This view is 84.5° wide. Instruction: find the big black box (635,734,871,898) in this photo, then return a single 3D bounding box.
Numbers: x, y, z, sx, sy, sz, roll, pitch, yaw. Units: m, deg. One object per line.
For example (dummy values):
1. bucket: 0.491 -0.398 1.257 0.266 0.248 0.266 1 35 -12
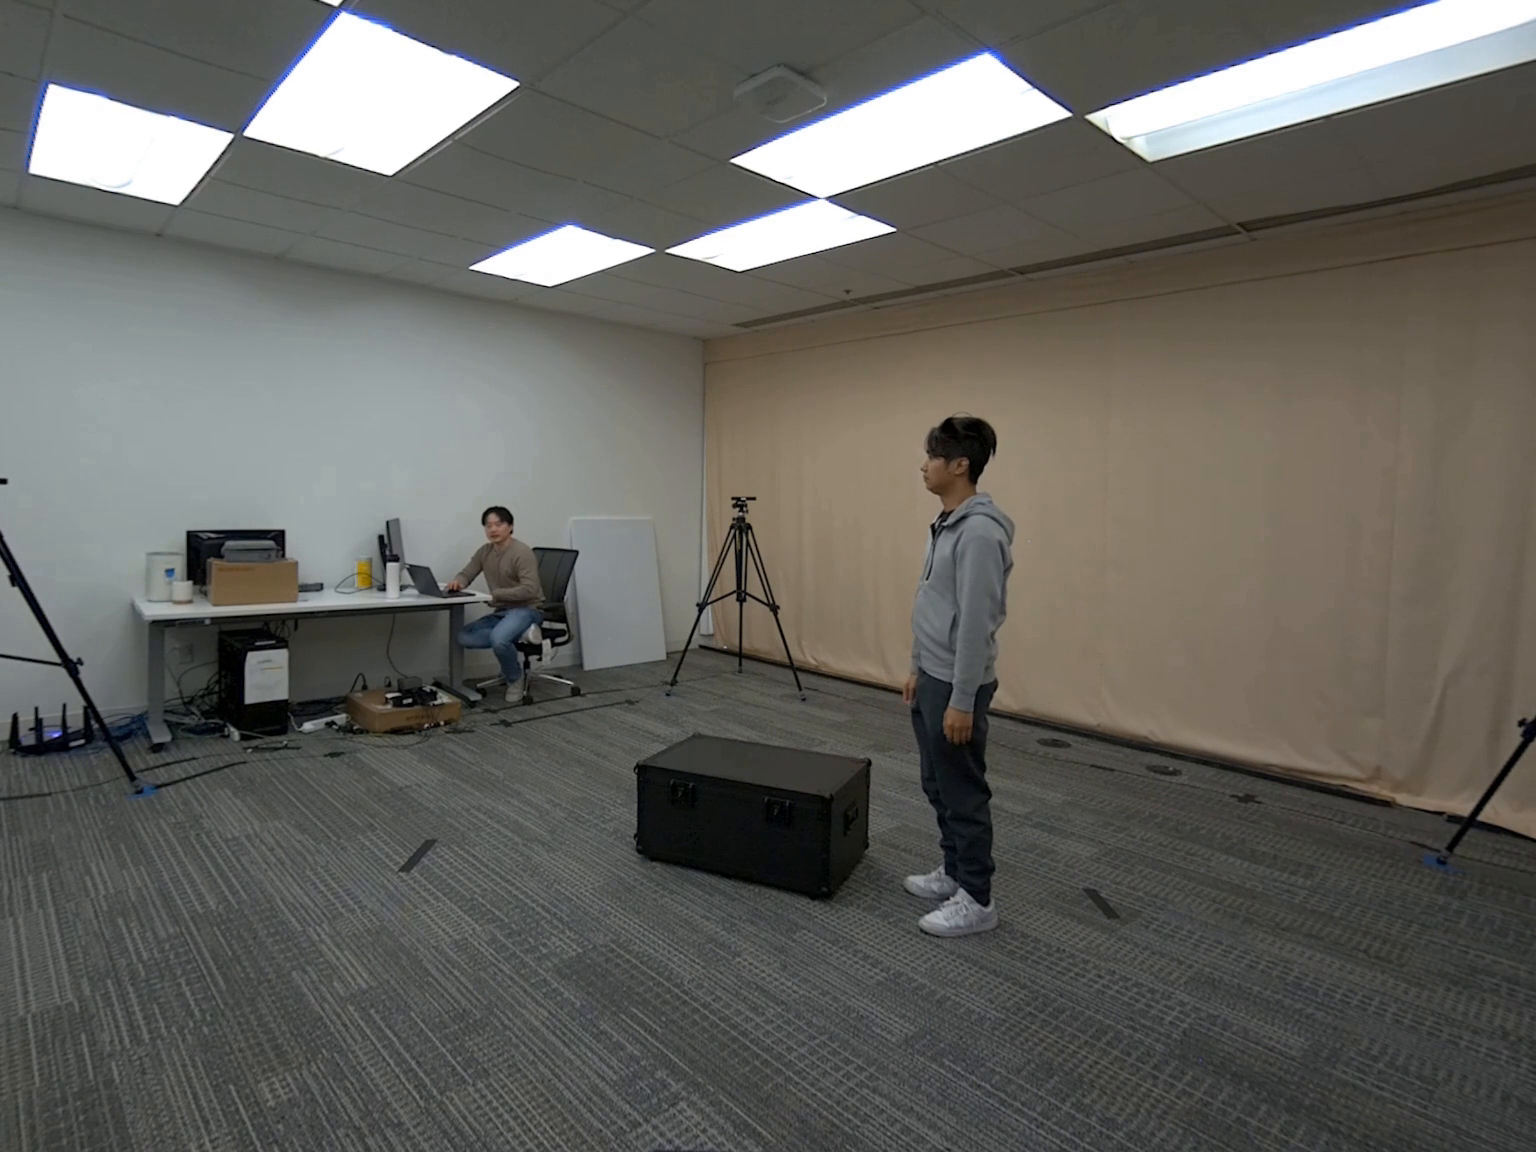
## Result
1. big black box: -0.031 0.905 3.255 0.878 0.395 0.513 2 5 25
